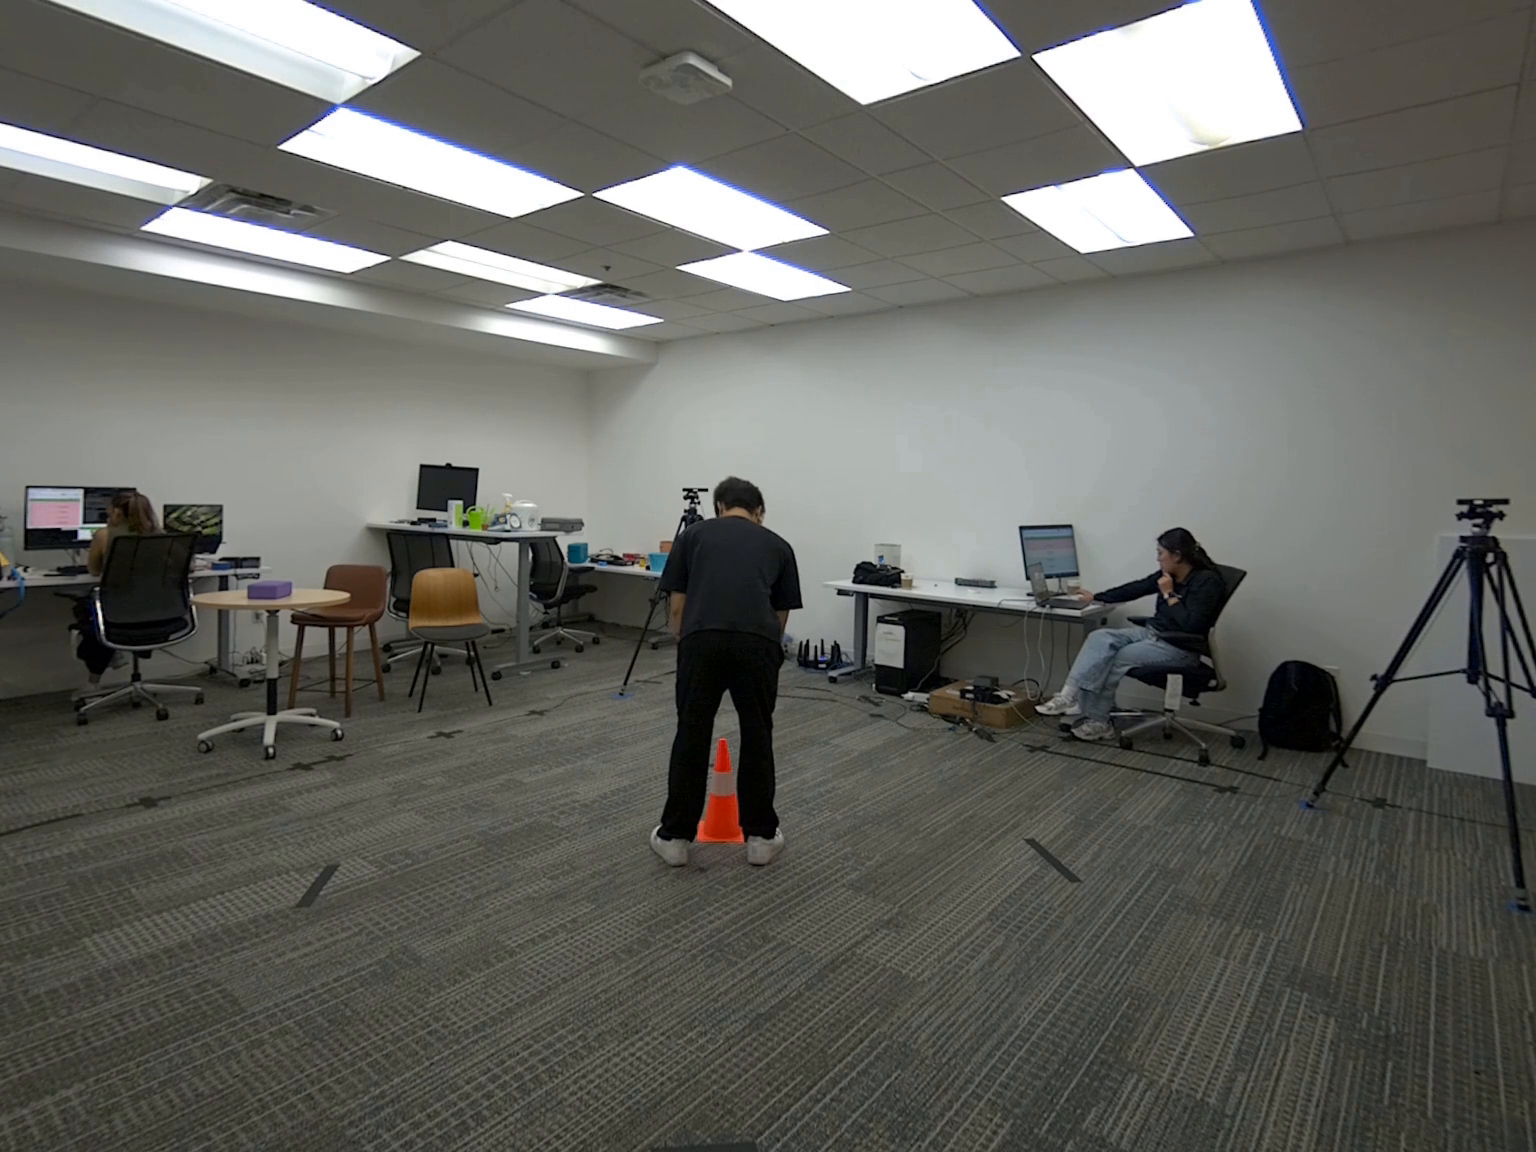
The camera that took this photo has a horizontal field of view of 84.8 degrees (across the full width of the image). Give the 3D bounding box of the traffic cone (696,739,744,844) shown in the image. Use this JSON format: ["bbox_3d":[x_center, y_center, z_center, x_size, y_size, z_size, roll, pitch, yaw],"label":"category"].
[{"bbox_3d":[-0.184,0.854,3.449,0.205,0.383,0.204,2,3,-1],"label":"traffic cone"}]
